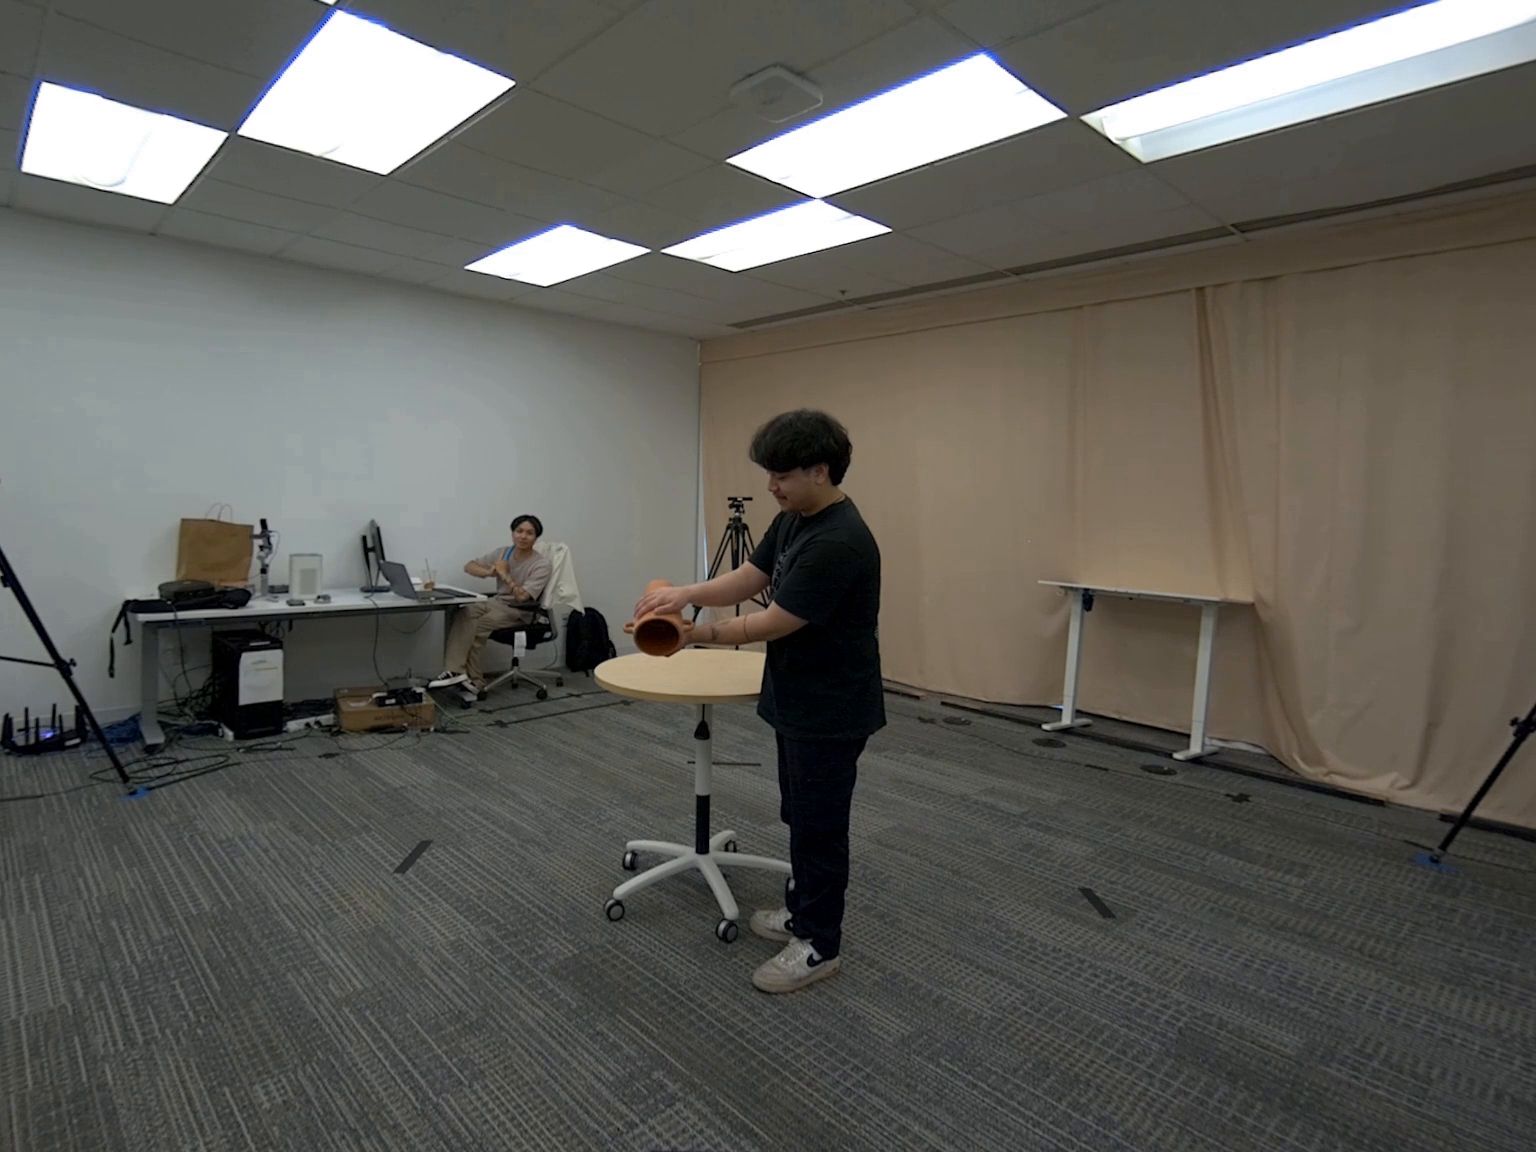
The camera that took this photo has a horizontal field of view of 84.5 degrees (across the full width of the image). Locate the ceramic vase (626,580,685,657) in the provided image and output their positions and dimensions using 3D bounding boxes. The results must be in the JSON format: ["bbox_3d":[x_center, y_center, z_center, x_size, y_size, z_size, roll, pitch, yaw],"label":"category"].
[{"bbox_3d":[-0.310,0.109,2.379,0.155,0.135,0.224,36,22,-22],"label":"ceramic vase"}]
